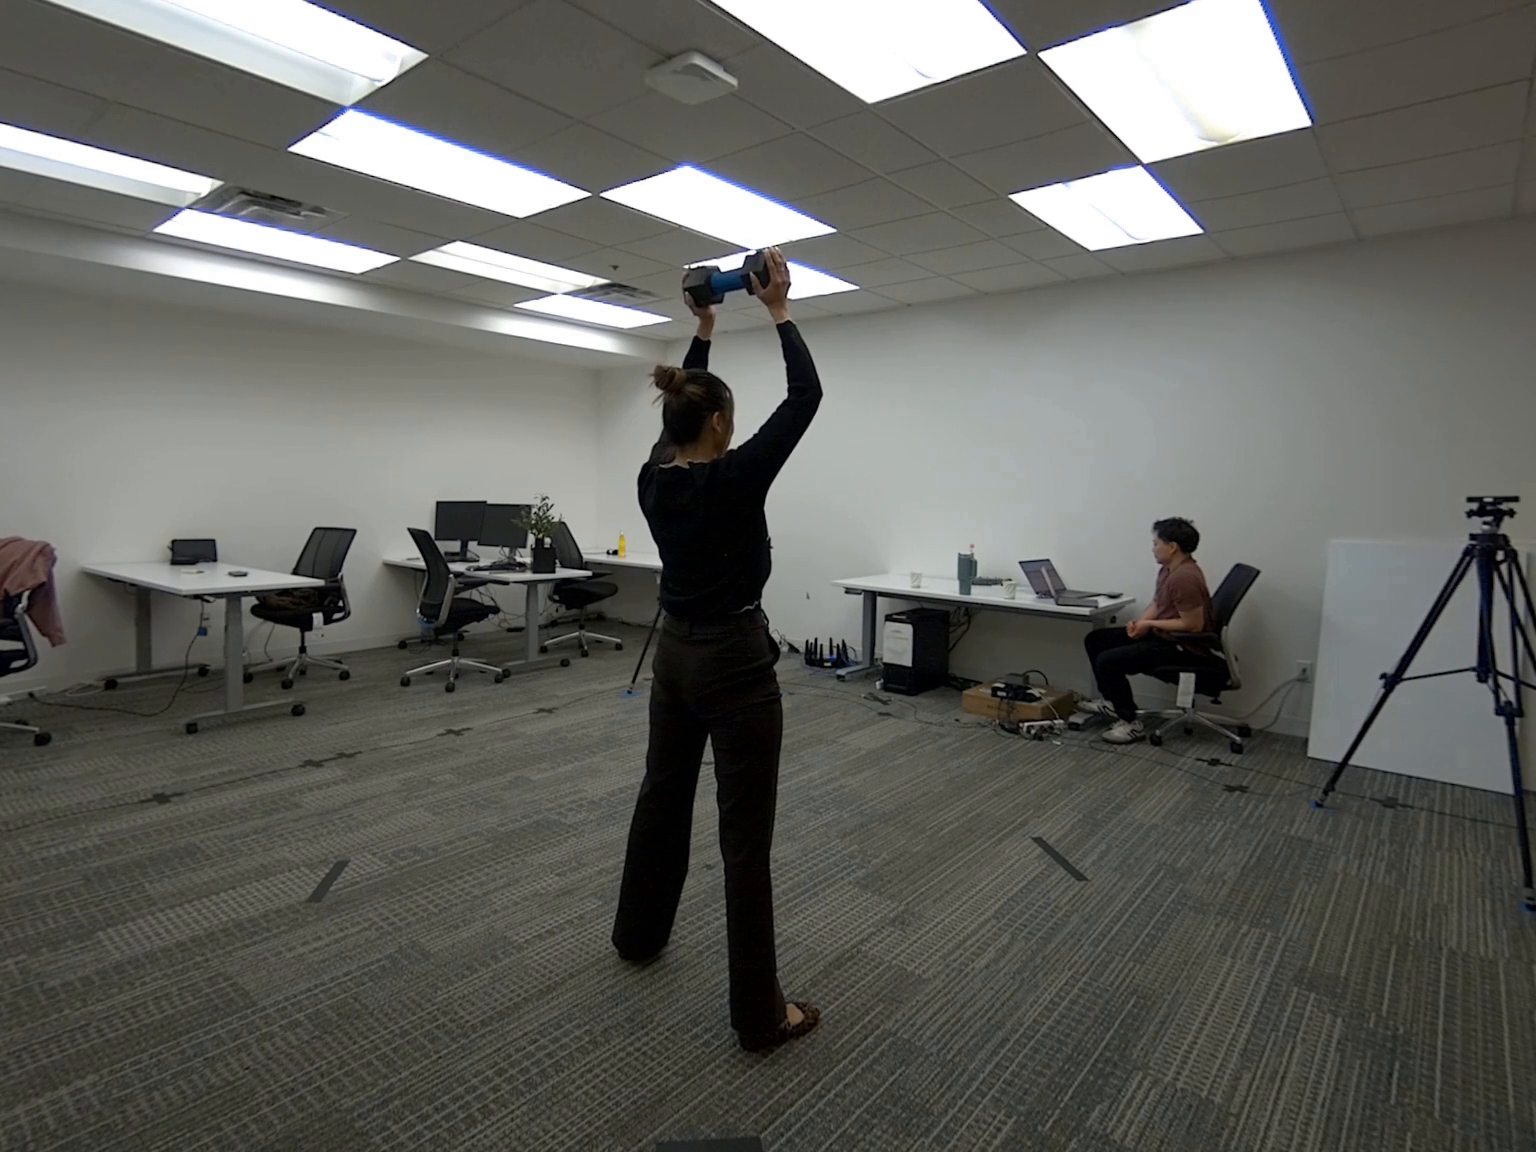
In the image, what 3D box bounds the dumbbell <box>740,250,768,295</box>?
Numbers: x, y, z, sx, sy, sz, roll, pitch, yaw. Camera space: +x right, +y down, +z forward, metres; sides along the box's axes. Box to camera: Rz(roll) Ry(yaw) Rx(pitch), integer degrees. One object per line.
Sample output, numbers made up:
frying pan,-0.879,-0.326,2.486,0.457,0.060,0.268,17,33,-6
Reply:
dumbbell,-0.101,-0.809,2.346,0.303,0.109,0.118,4,-38,41
